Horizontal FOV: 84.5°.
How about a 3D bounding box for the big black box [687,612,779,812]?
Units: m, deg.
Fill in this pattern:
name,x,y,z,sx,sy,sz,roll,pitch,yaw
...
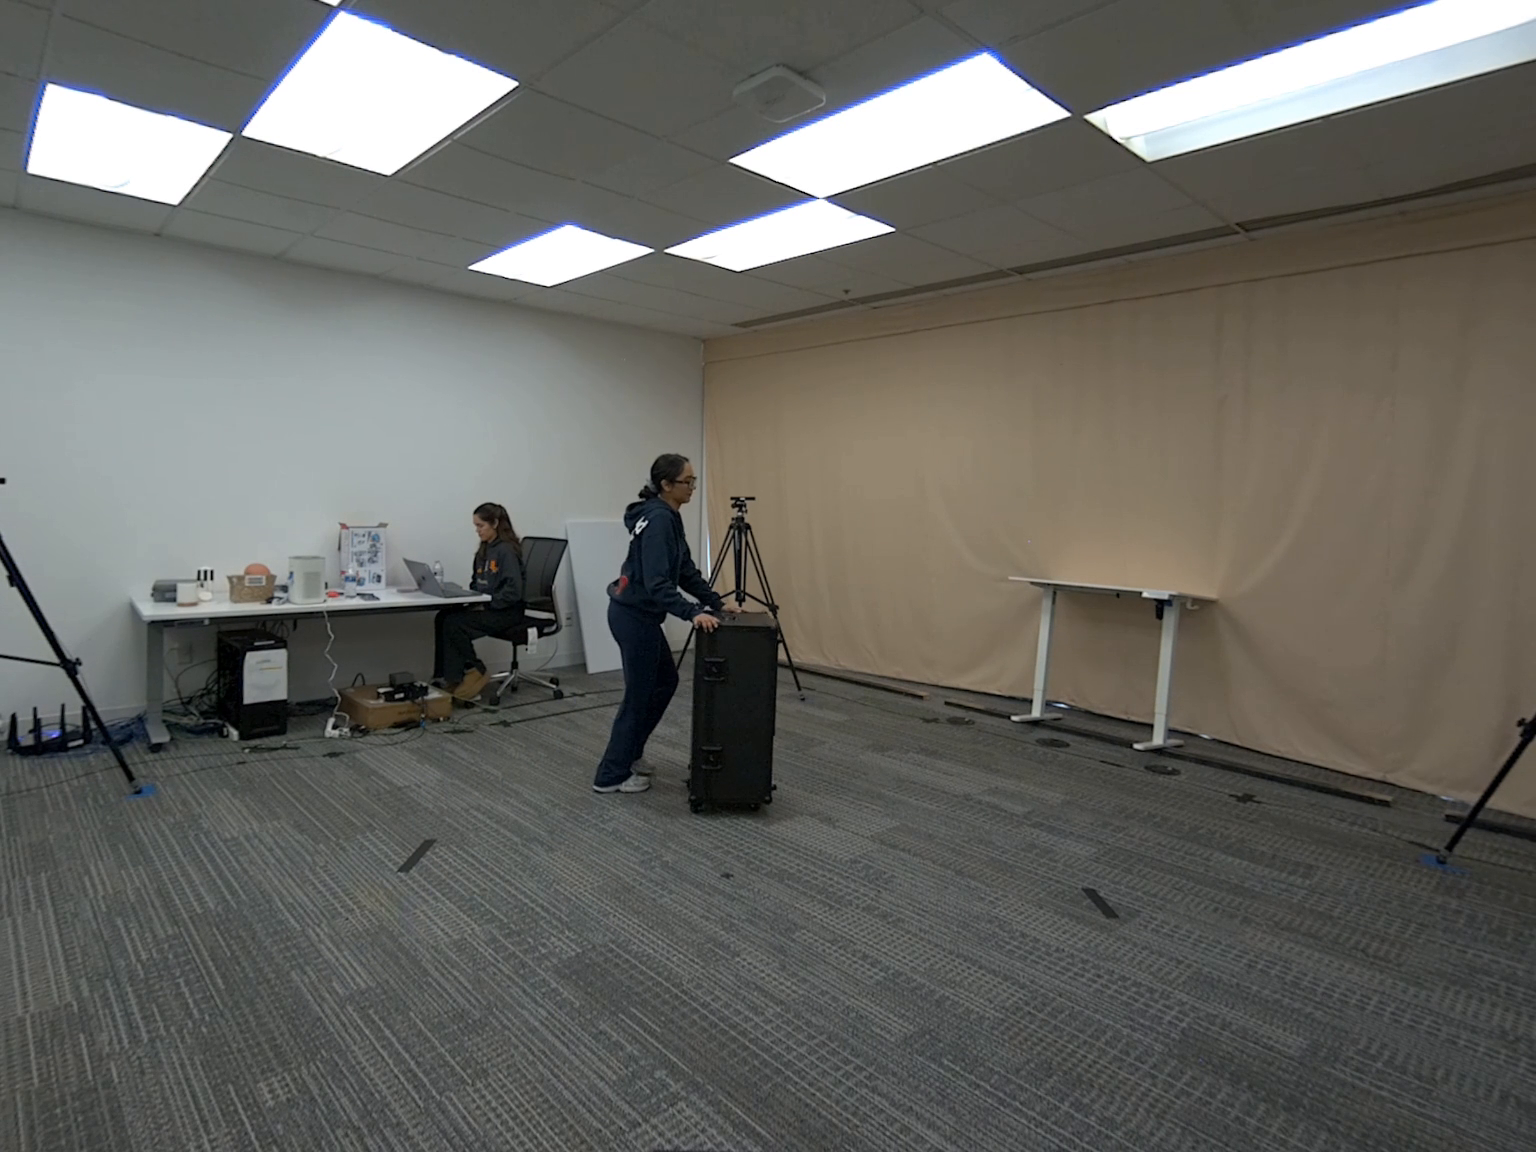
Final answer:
name,x,y,z,sx,sy,sz,roll,pitch,yaw
big black box,-0.180,0.613,3.884,0.394,0.860,0.525,2,2,-7
